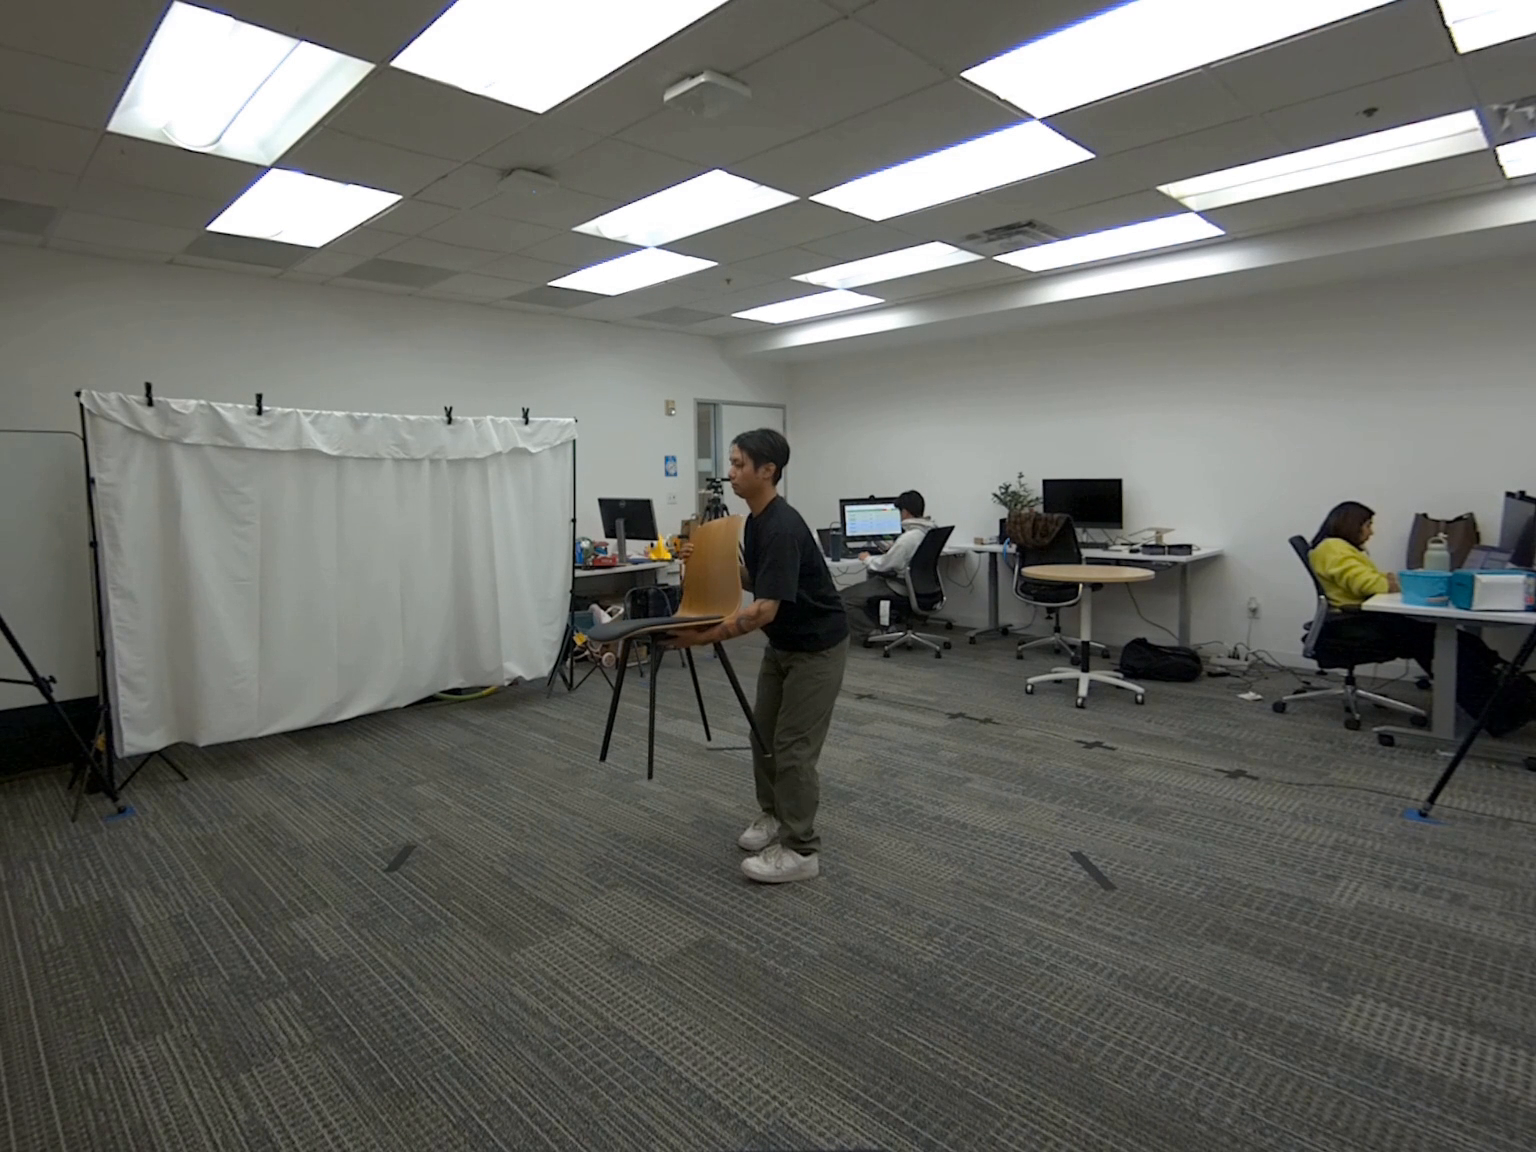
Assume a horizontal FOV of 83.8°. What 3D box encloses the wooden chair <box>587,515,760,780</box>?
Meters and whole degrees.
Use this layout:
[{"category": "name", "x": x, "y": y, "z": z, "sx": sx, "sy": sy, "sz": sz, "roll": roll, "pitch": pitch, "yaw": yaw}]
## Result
[{"category": "wooden chair", "x": -0.346, "y": 0.221, "z": 3.007, "sx": 0.510, "sy": 0.882, "sz": 0.488, "roll": 1, "pitch": -6, "yaw": -30}]
